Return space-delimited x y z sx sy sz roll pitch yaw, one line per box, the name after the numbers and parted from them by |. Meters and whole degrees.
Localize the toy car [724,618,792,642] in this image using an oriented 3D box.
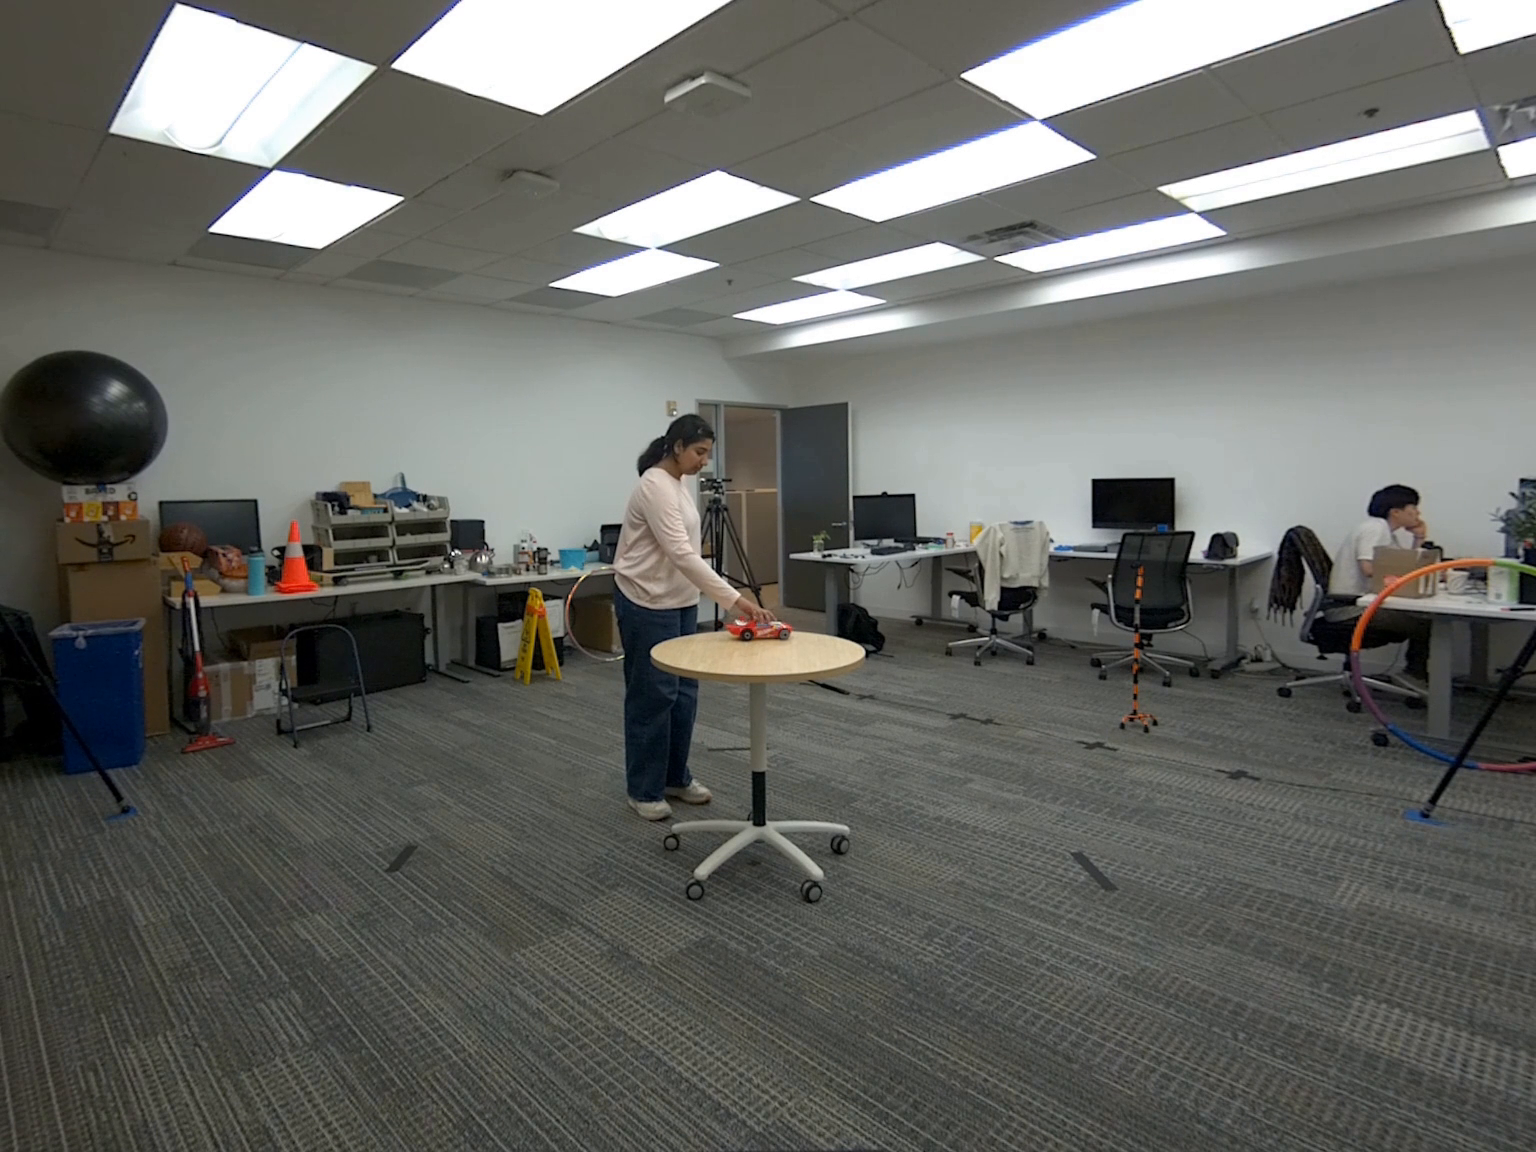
-0.043 0.209 3.273 0.253 0.083 0.132 11 4 -7 | toy car
